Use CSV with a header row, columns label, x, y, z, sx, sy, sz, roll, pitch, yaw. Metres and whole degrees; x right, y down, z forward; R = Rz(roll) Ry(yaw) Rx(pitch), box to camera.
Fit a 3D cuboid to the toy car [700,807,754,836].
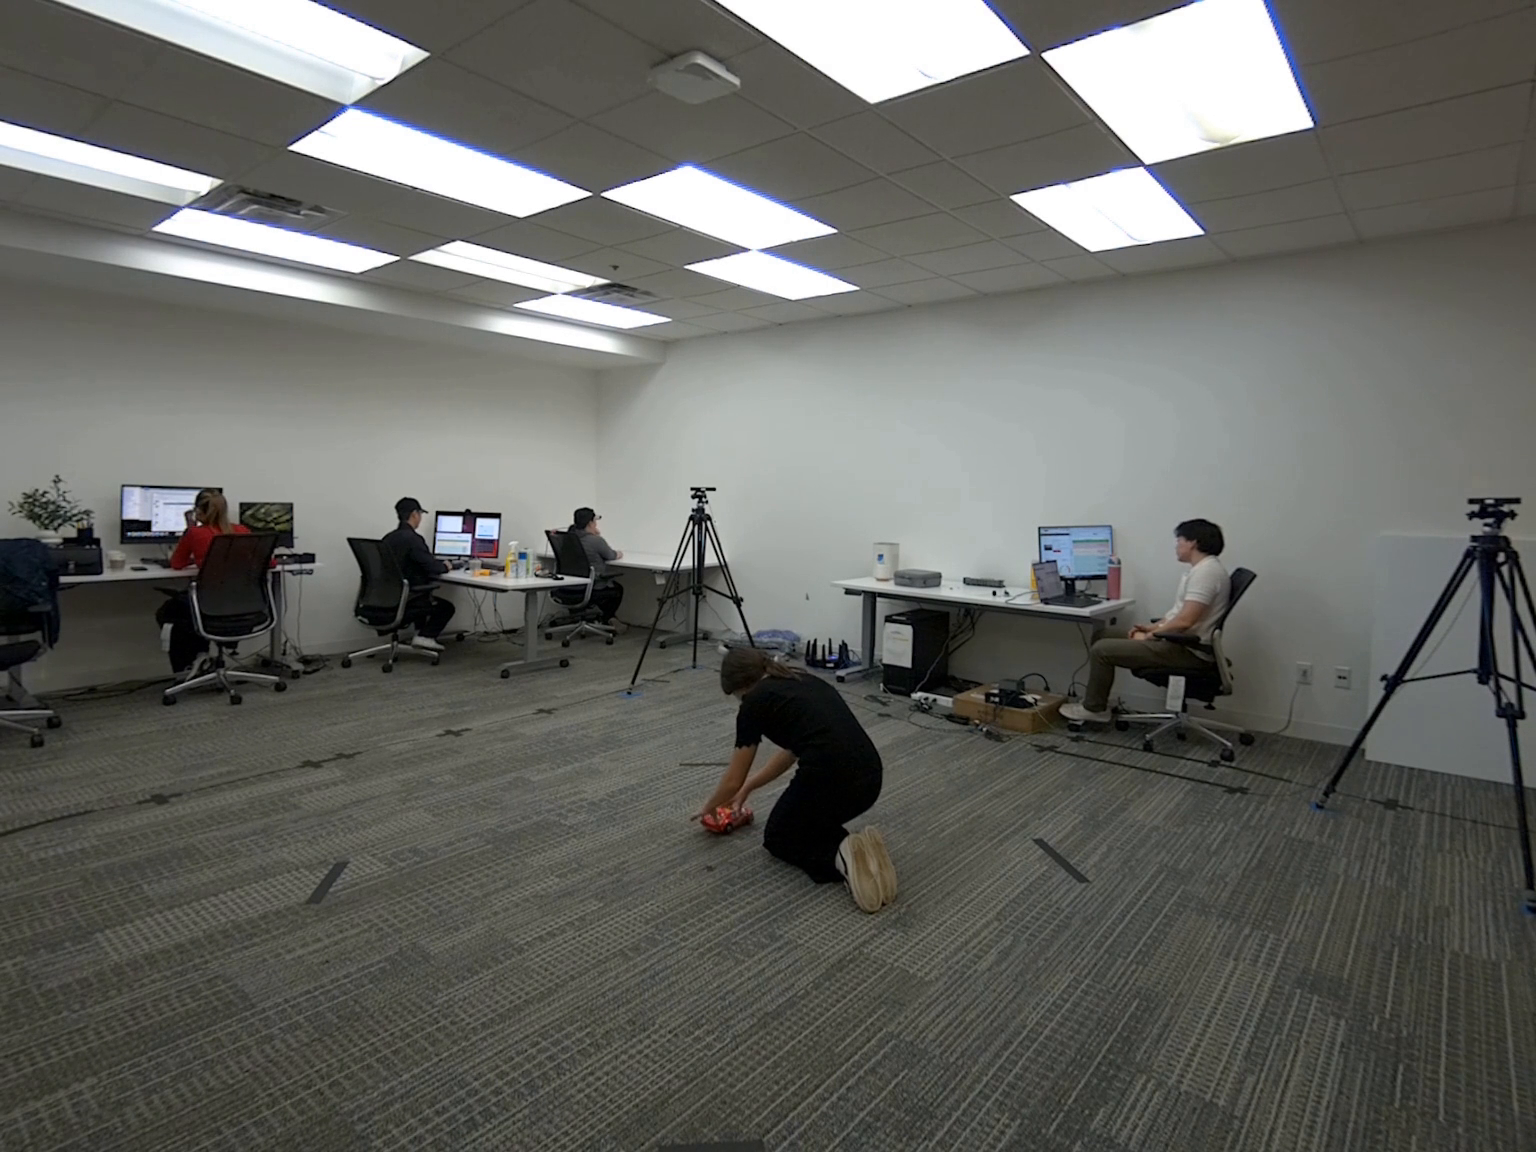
label,x,y,z,sx,sy,sz,roll,pitch,yaw
toy car,-0.182,0.999,3.493,0.135,0.083,0.245,6,-5,40
